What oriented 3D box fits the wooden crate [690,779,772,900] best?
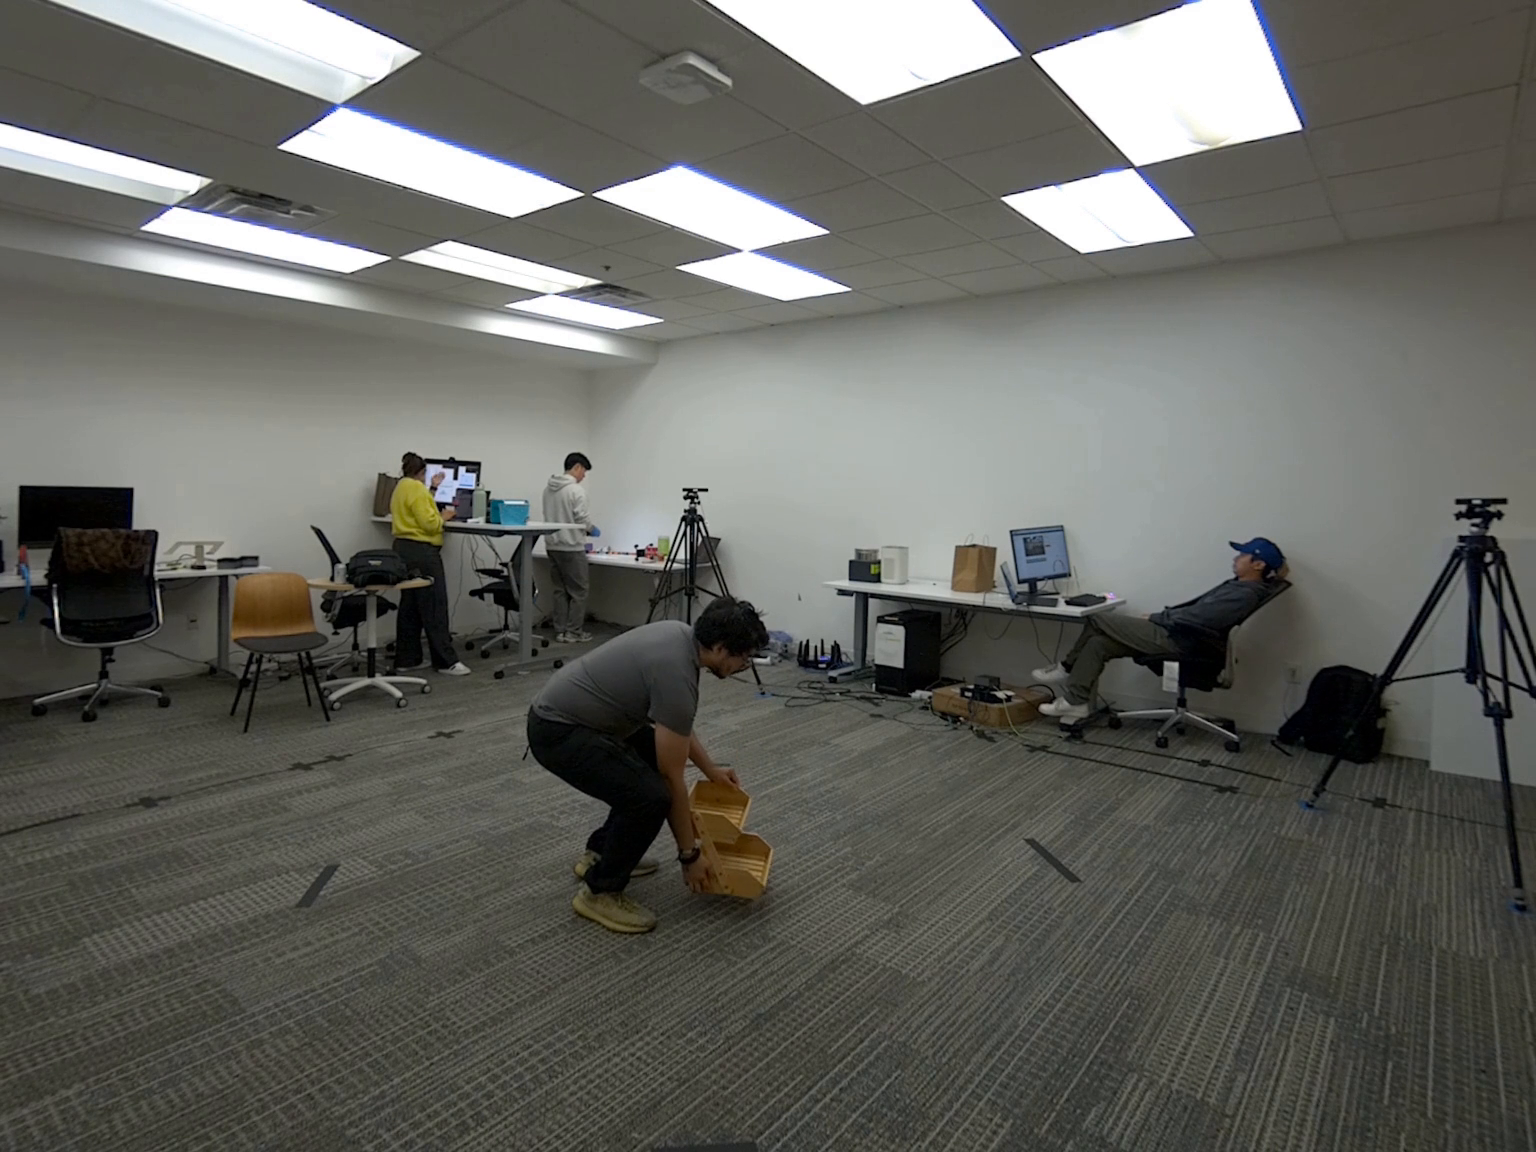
[{"bbox_3d":[-0.122,0.898,2.895,0.304,0.272,0.323,4,5,6],"label":"wooden crate"}]
